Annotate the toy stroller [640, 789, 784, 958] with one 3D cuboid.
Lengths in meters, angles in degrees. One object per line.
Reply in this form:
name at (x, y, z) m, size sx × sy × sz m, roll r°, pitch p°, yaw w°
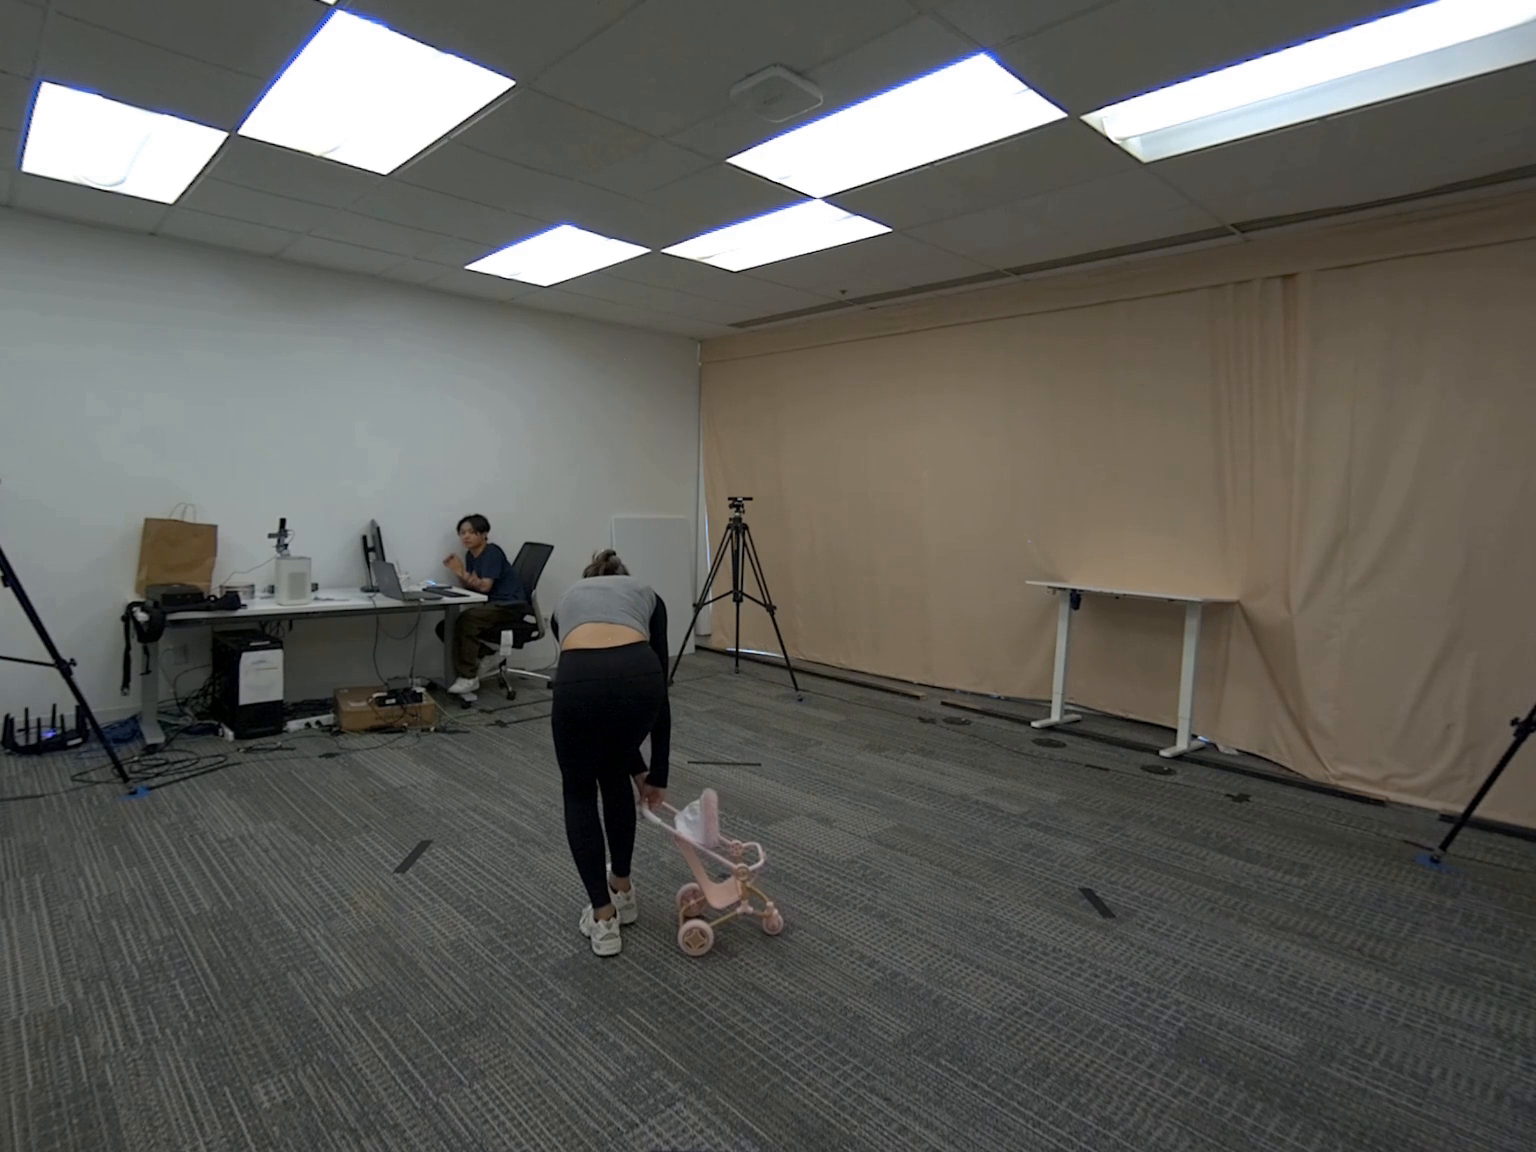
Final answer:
toy stroller at (-0.175, 0.919, 2.672) m, size 0.341 × 0.534 × 0.282 m, roll -14°, pitch 2°, yaw -1°
